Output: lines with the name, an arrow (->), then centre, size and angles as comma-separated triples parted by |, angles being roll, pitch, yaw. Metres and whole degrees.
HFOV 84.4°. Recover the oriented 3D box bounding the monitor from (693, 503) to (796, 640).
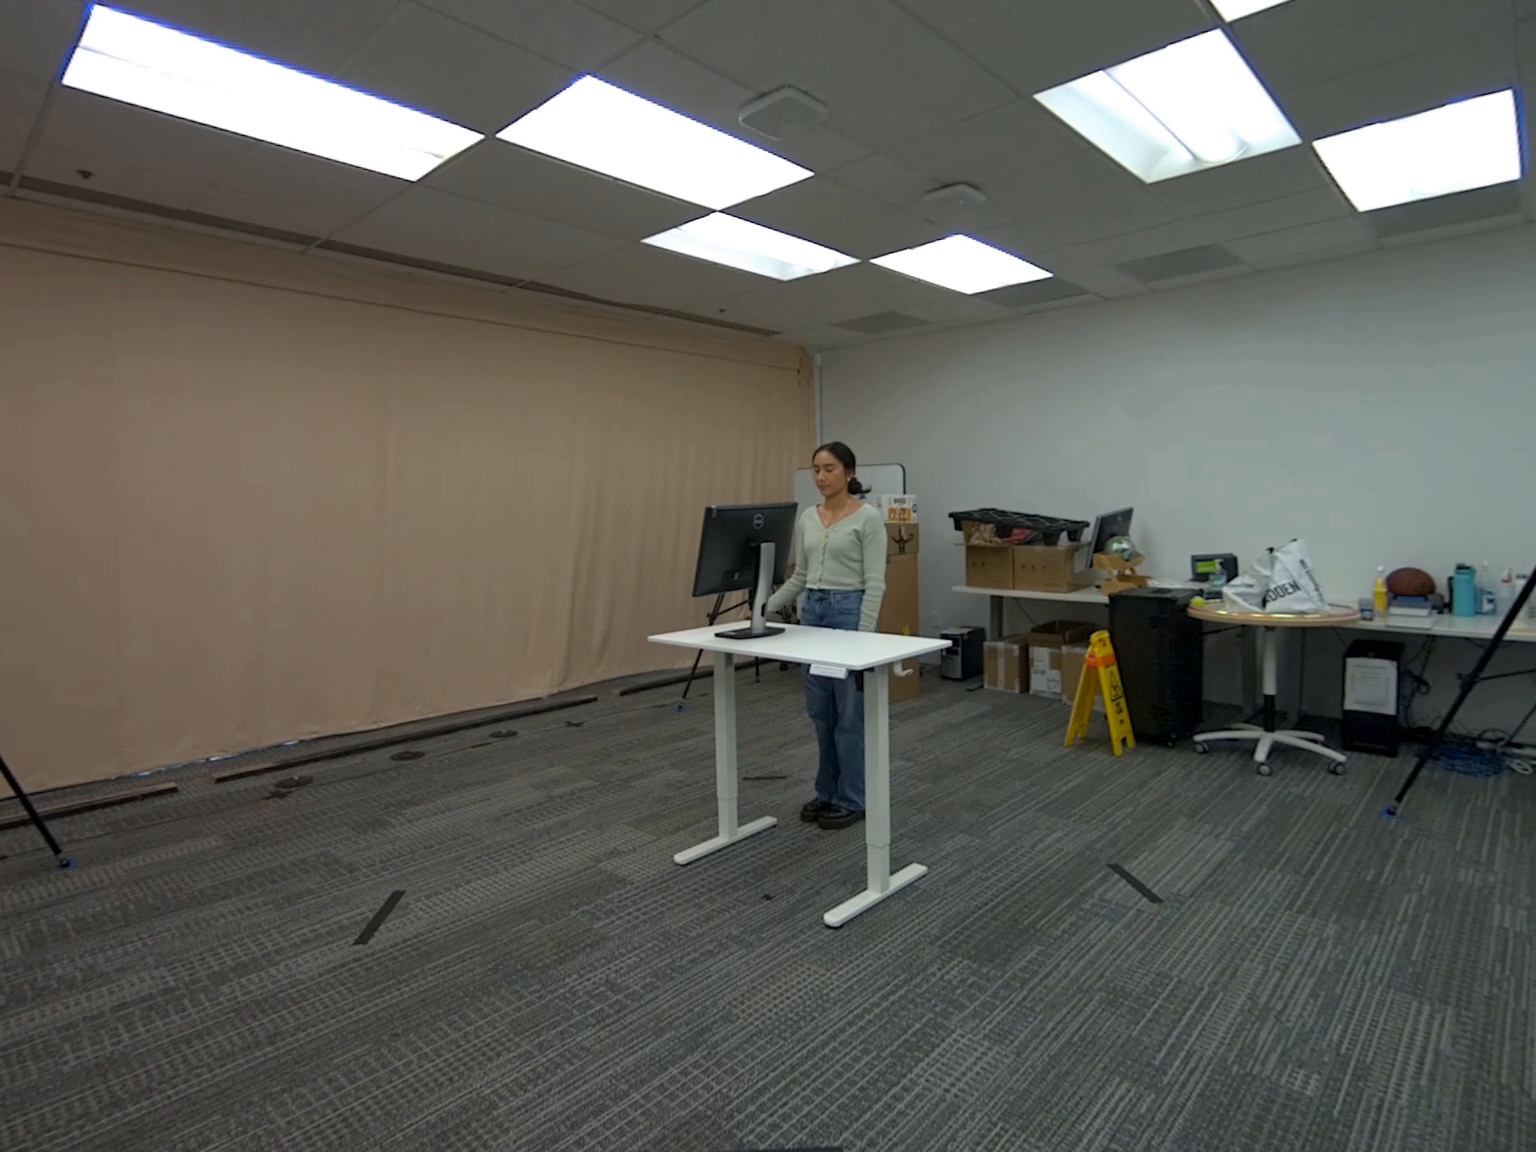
monitor -> -0.058, -0.026, 3.311 | 0.180, 0.515, 0.514 | -1, 4, 41
